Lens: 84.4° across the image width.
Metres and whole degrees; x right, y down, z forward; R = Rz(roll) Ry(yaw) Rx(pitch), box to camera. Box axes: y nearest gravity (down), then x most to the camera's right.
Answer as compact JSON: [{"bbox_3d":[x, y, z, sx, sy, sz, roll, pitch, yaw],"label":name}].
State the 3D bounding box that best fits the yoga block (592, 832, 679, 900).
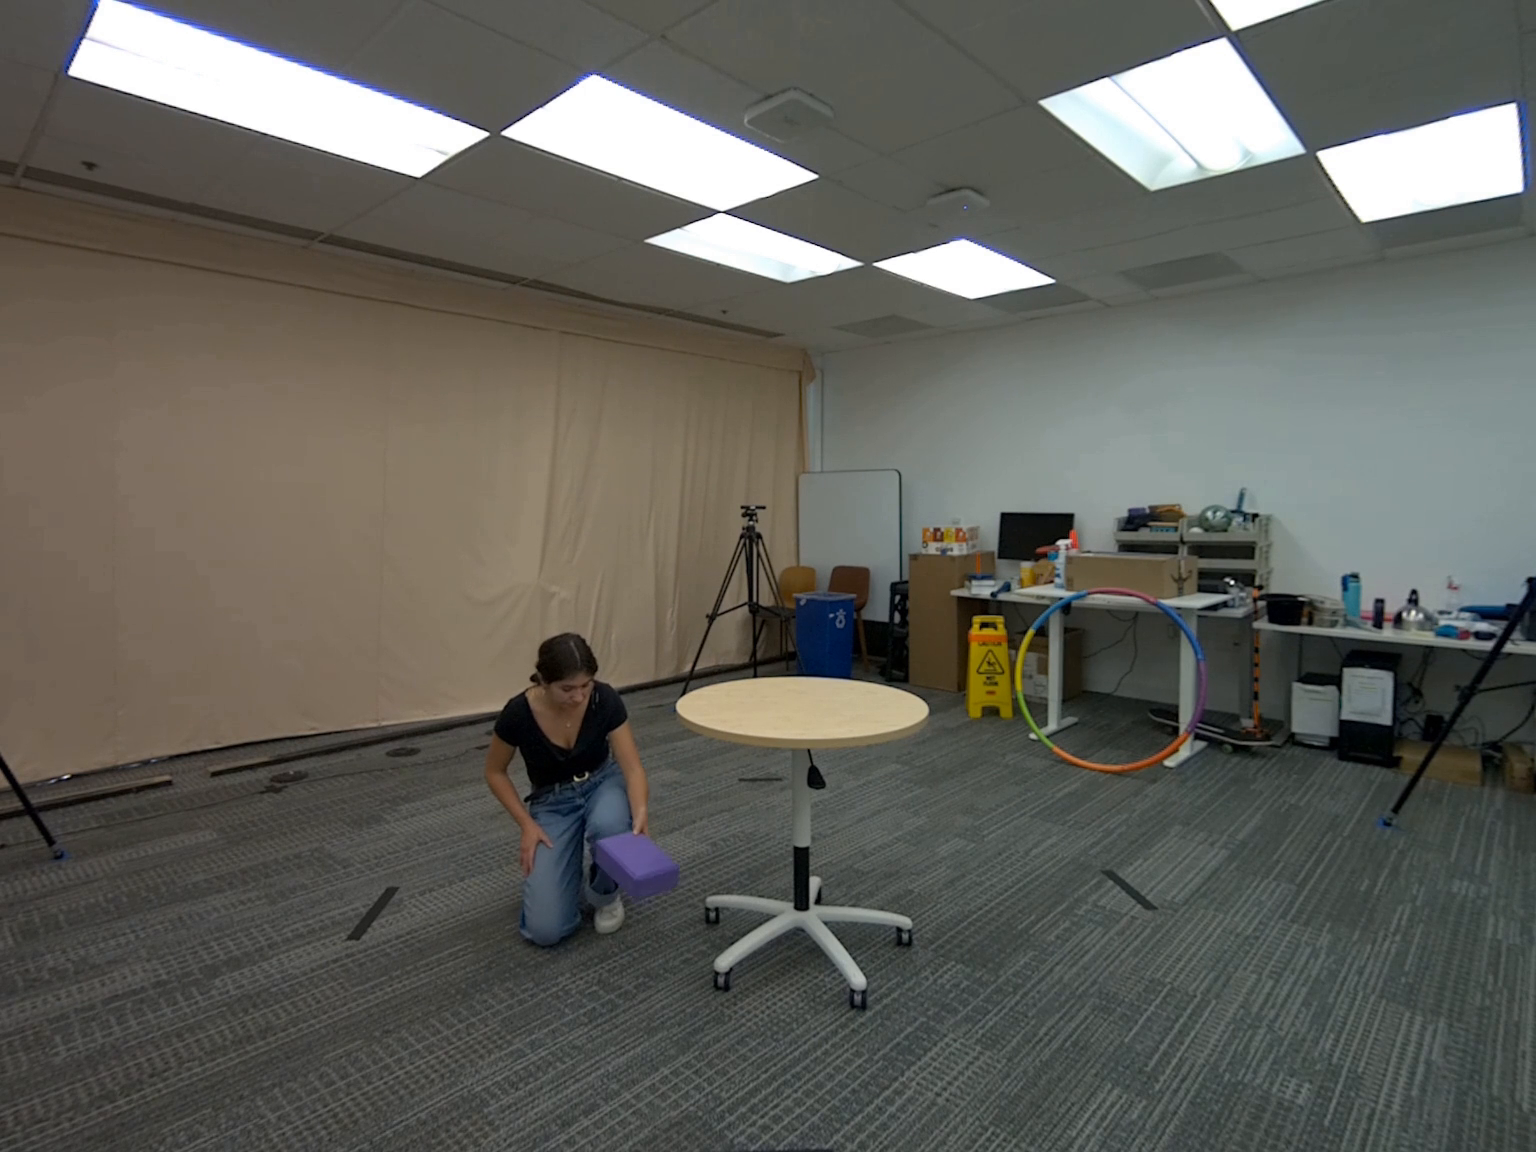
[{"bbox_3d":[-0.375,0.839,2.419,0.144,0.076,0.238,-4,14,-44],"label":"yoga block"}]
